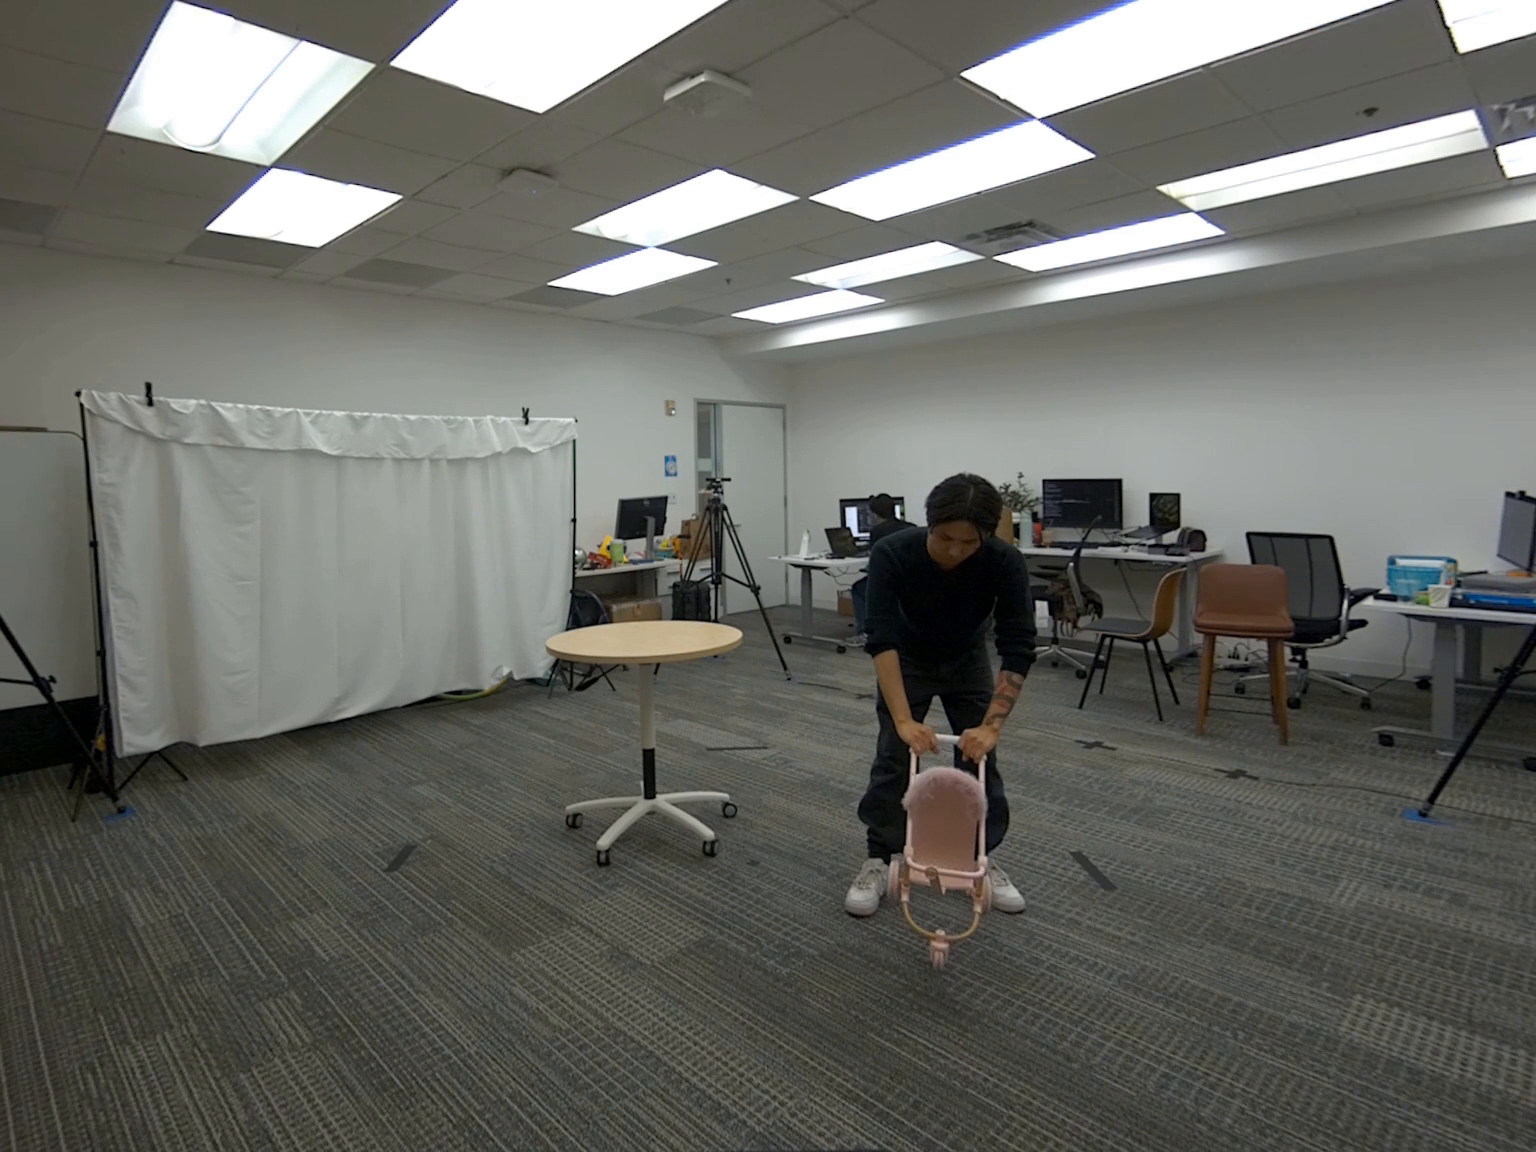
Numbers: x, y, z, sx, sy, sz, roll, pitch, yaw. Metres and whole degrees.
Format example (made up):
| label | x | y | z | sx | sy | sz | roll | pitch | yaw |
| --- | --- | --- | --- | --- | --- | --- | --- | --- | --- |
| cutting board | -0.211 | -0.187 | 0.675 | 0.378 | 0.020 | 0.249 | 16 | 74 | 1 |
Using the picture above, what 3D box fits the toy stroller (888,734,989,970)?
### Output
| label | x | y | z | sx | sy | sz | roll | pitch | yaw |
| --- | --- | --- | --- | --- | --- | --- | --- | --- | --- |
| toy stroller | 0.477 | 0.737 | 2.309 | 0.286 | 0.534 | 0.336 | 4 | 2 | 15 |
